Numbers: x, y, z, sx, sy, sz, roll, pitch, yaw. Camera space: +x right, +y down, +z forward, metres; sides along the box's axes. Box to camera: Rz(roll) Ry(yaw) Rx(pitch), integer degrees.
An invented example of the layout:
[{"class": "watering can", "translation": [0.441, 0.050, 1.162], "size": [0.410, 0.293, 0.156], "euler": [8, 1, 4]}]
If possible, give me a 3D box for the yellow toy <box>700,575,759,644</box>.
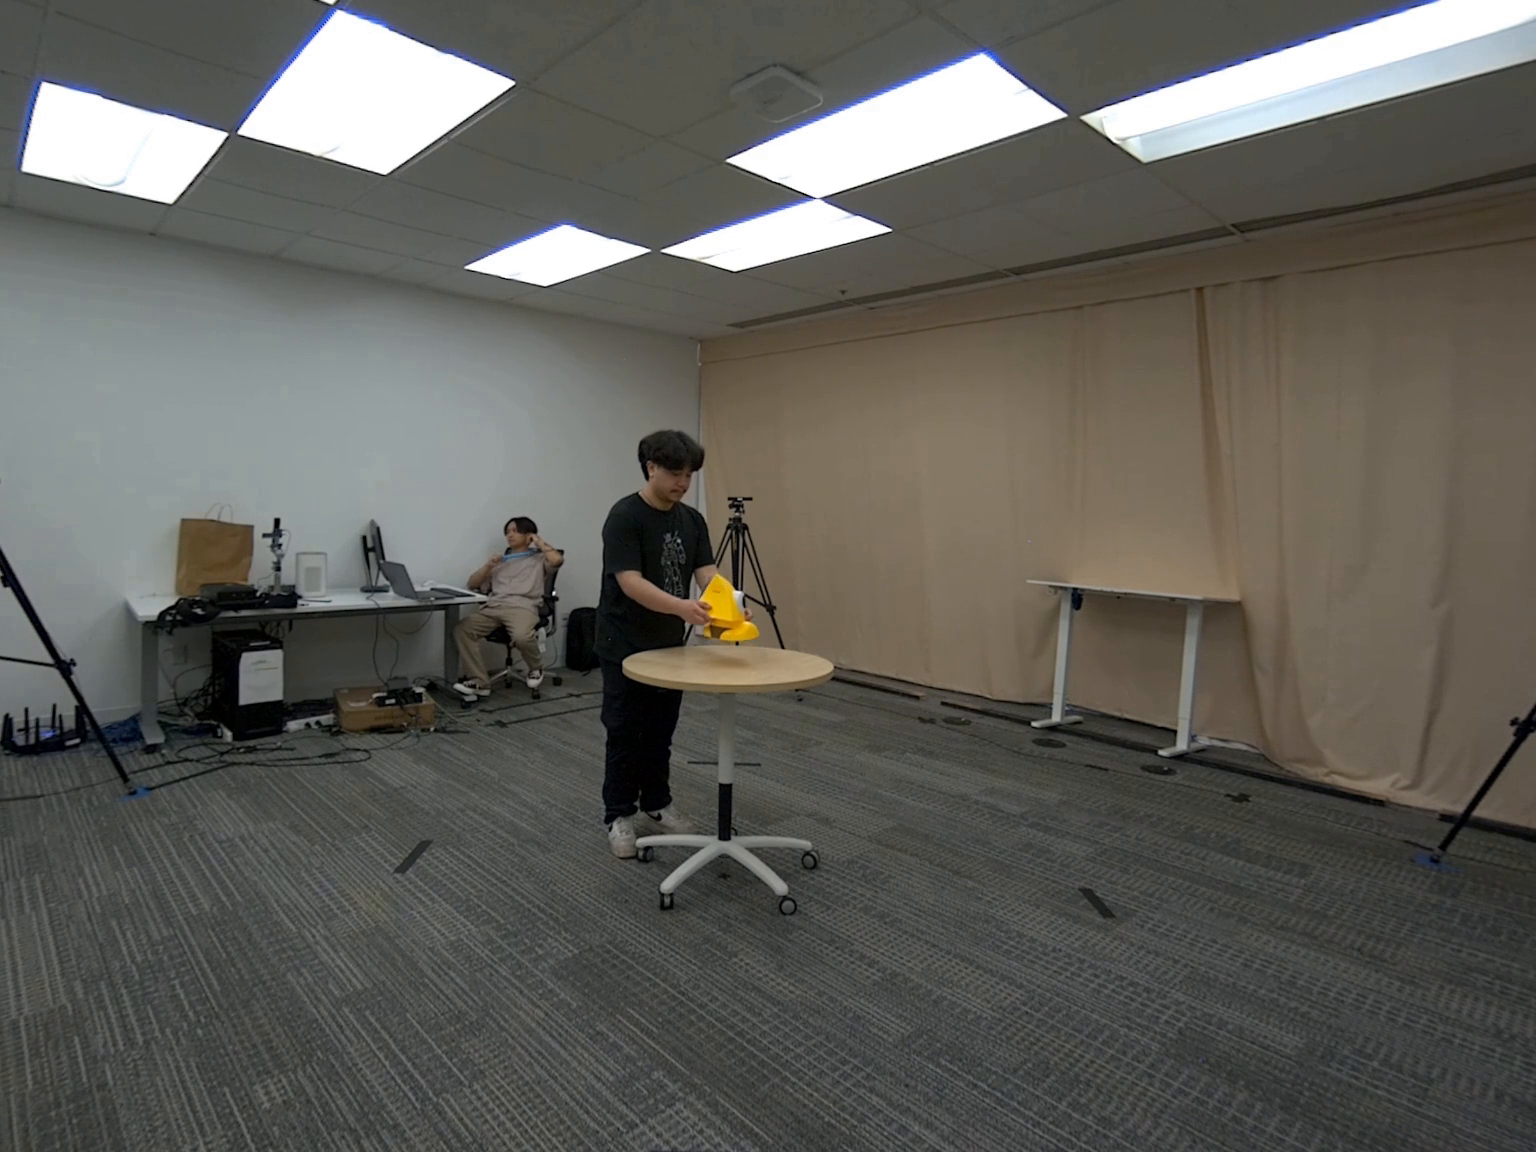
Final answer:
[{"class": "yellow toy", "translation": [-0.150, 0.099, 3.031], "size": [0.210, 0.230, 0.189], "euler": [6, 8, 43]}]
